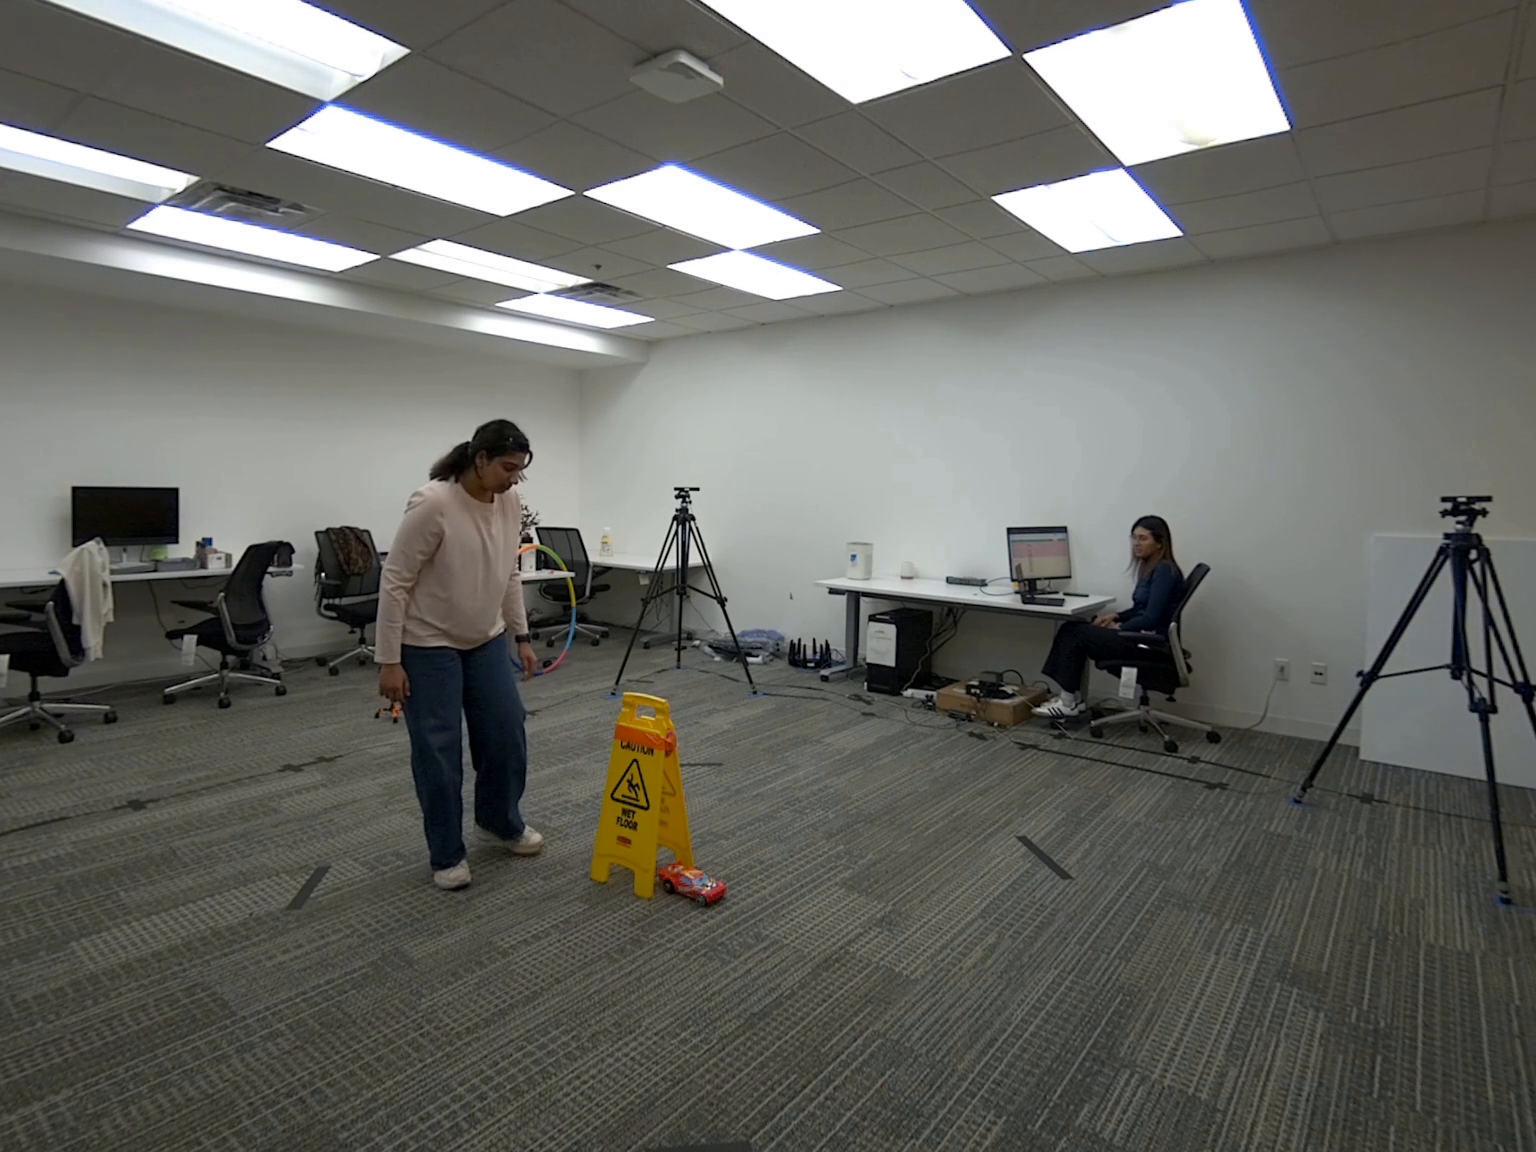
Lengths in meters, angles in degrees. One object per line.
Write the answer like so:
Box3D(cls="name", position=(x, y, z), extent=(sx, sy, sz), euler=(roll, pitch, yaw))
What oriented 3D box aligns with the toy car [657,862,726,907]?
Box3D(cls="toy car", position=(-0.275, 1.058, 2.915), extent=(0.264, 0.082, 0.126), euler=(16, 14, 37))
